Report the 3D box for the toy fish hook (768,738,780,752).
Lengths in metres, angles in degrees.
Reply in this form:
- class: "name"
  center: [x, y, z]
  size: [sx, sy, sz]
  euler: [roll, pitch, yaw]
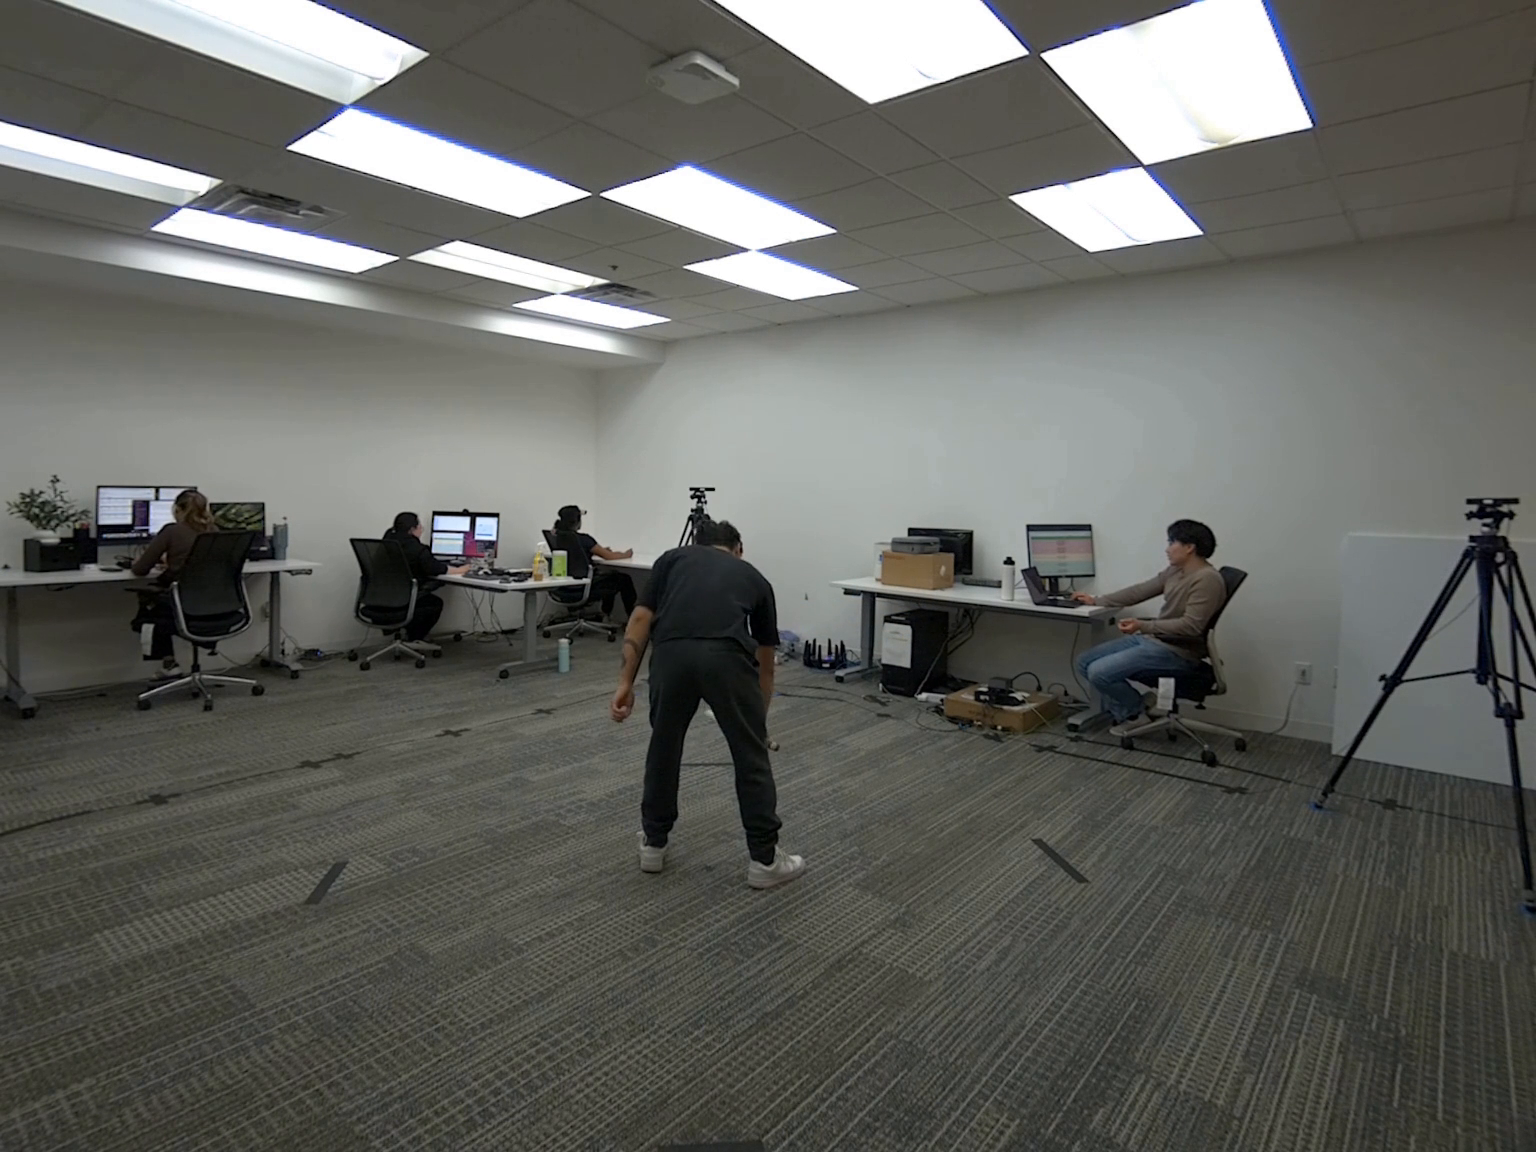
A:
- class: "toy fish hook"
  center: [-0.091, 0.653, 3.509]
  size: [0.216, 0.048, 0.524]
  euler: [33, -10, -33]
